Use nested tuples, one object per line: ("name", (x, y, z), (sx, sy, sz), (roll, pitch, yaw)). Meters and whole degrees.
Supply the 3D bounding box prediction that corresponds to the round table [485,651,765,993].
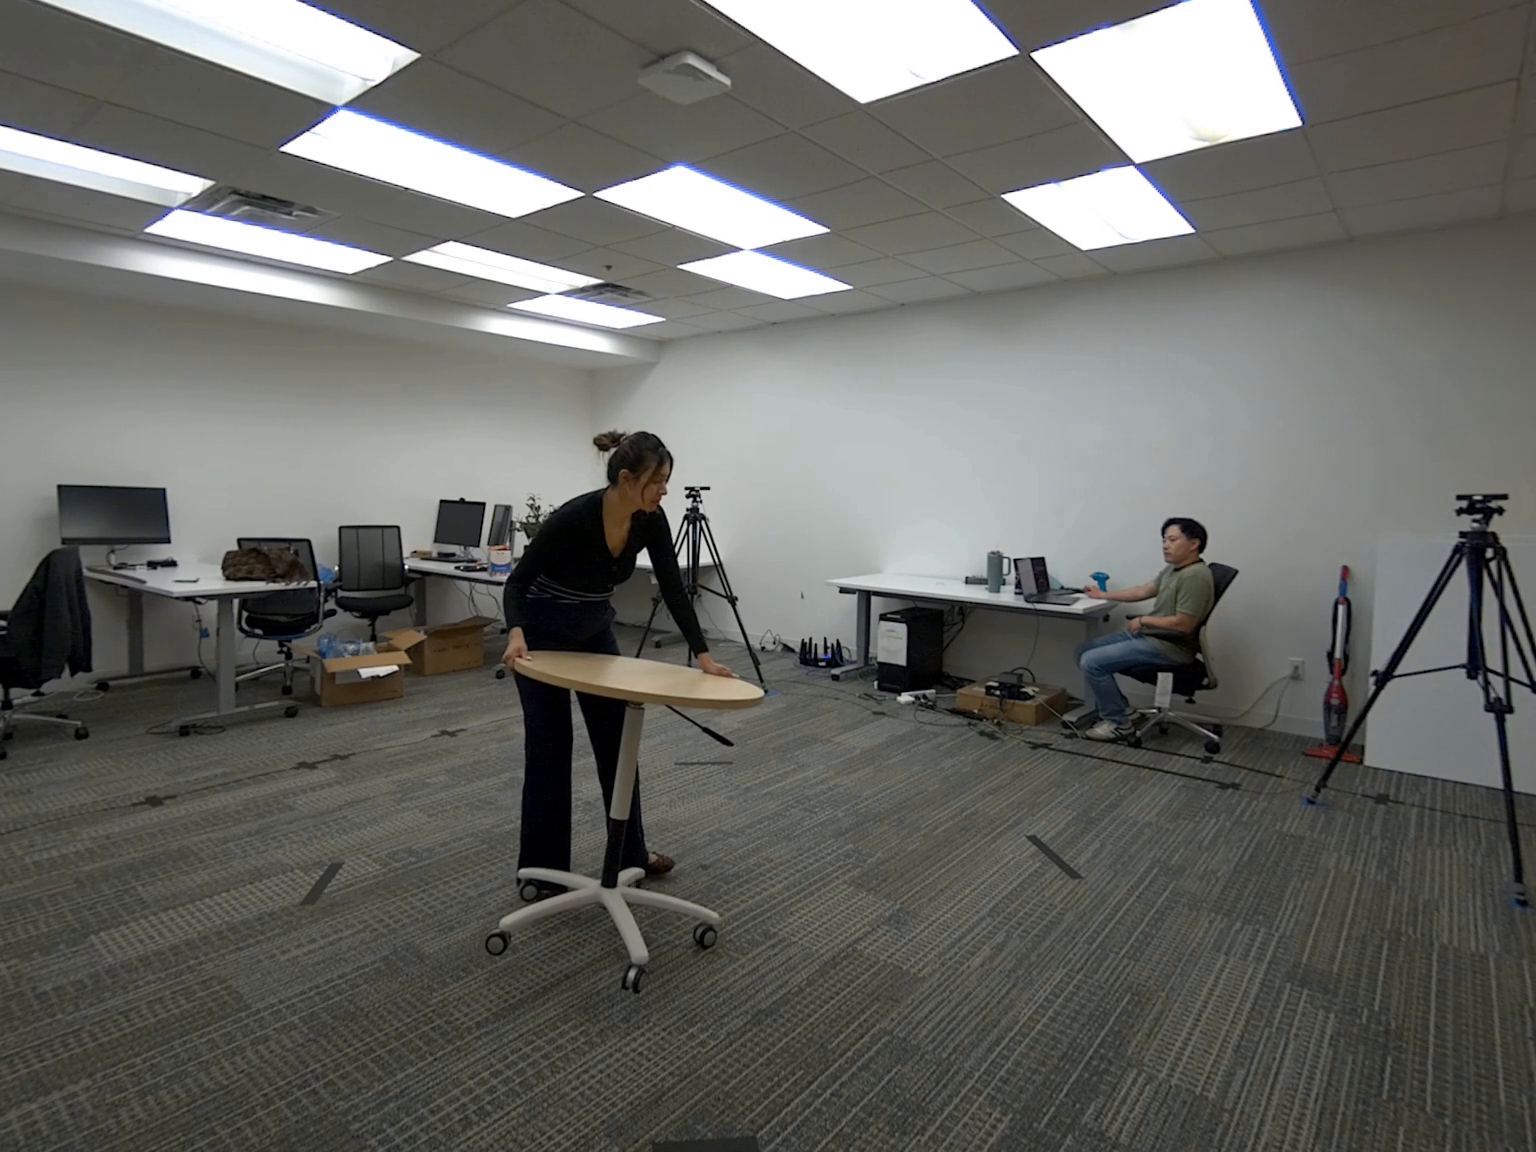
("round table", (-0.455, 0.687, 2.582), (0.764, 0.795, 0.763), (9, -2, -2))
